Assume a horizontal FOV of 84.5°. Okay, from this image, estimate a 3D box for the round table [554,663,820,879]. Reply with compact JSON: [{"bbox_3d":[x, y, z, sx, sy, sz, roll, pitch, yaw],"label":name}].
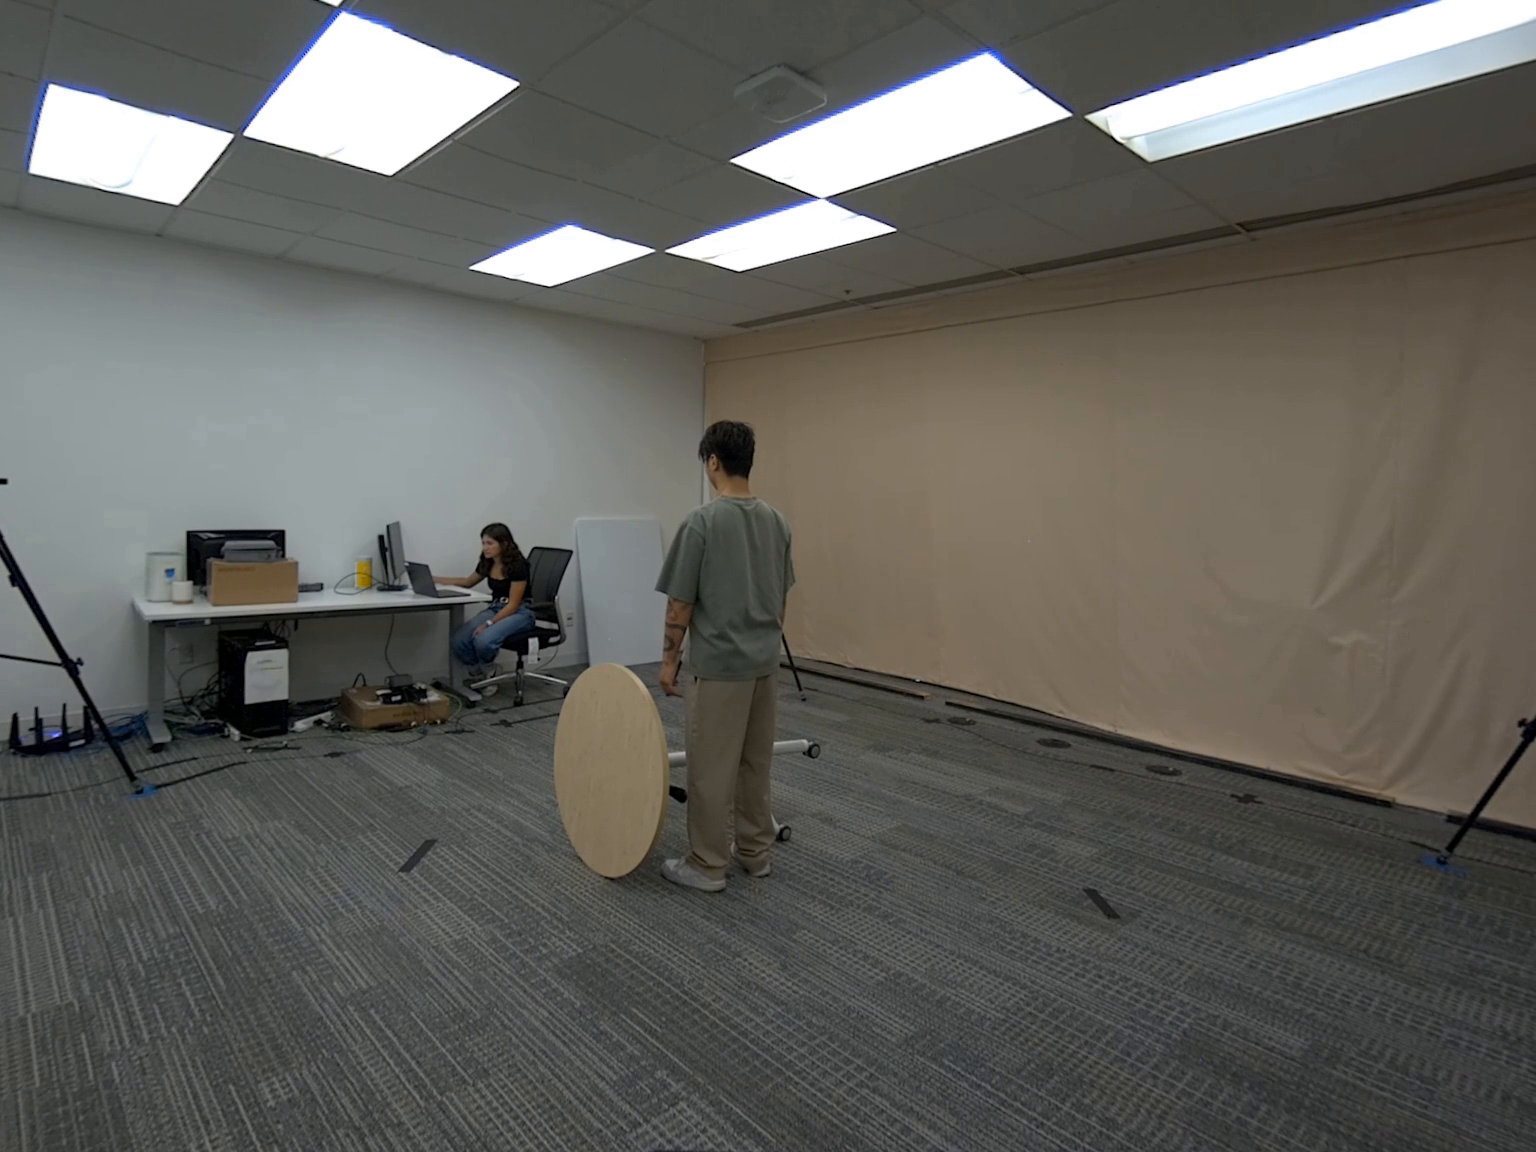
[{"bbox_3d":[-0.326,0.736,3.382,0.766,0.785,0.805,6,0,-41],"label":"round table"}]
